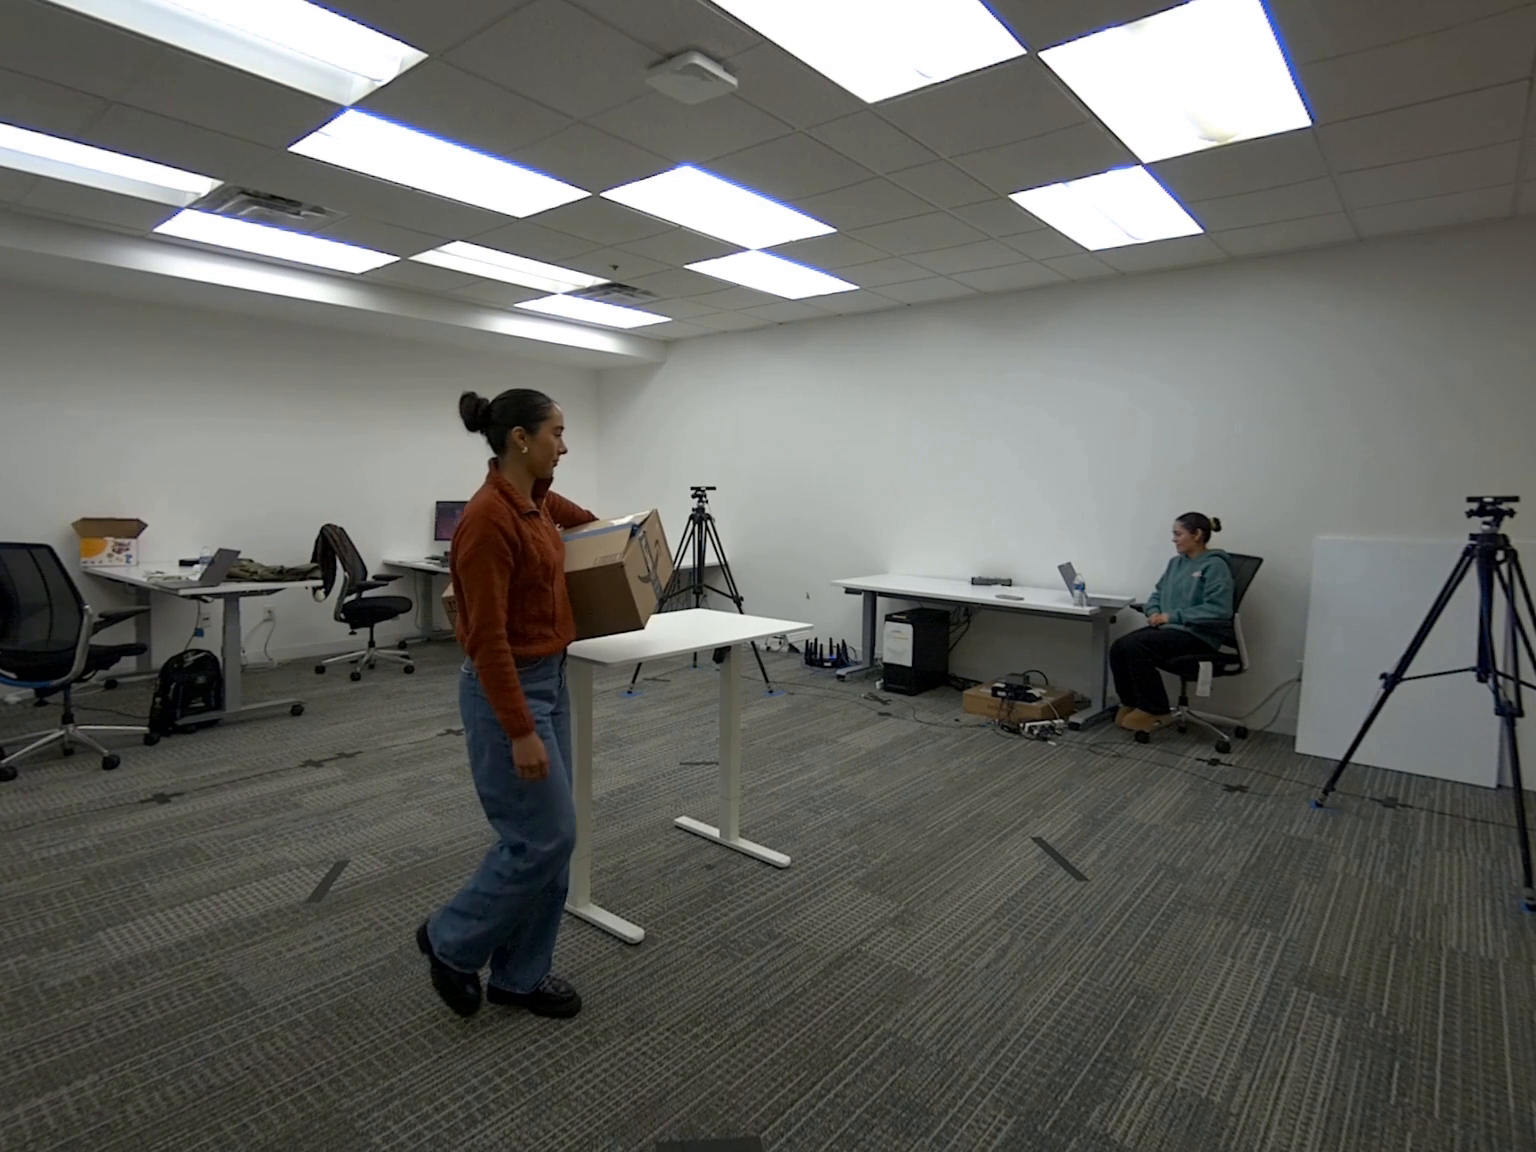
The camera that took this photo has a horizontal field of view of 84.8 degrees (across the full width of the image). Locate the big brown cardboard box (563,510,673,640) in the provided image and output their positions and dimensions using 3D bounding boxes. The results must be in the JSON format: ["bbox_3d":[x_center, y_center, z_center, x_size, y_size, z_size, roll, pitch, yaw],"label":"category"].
[{"bbox_3d":[-0.626,0.017,2.572,0.596,0.228,0.423,-12,22,13],"label":"big brown cardboard box"}]
